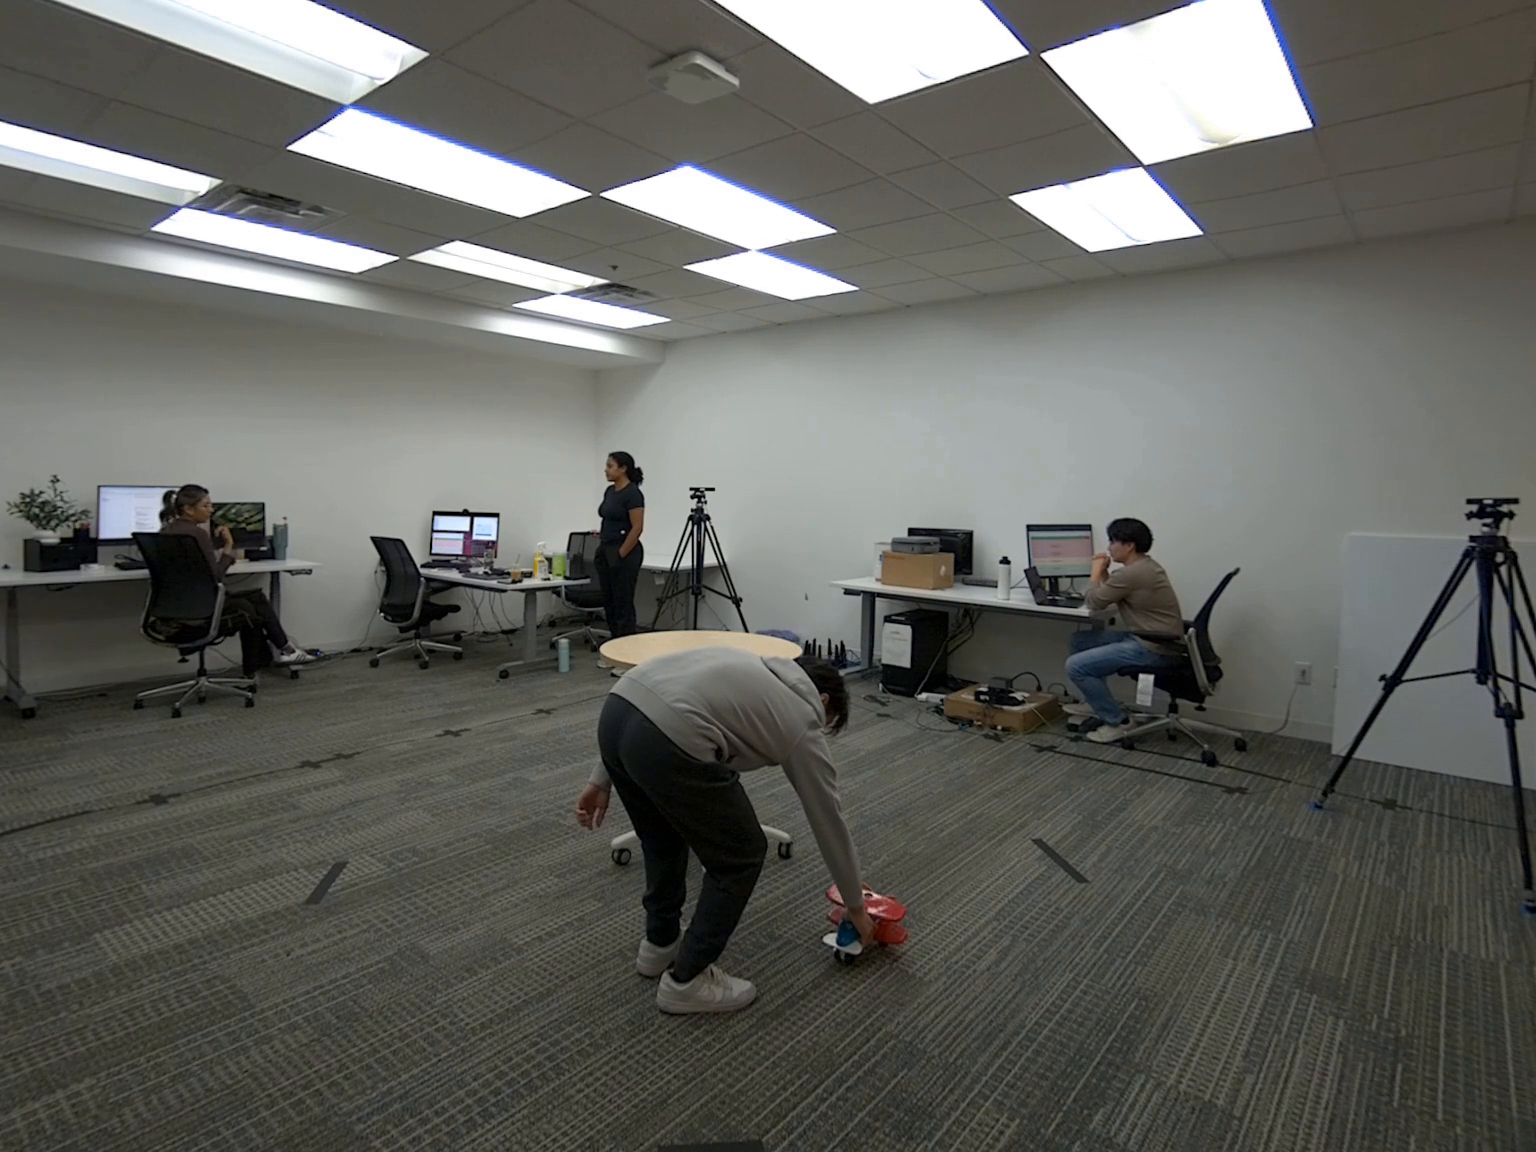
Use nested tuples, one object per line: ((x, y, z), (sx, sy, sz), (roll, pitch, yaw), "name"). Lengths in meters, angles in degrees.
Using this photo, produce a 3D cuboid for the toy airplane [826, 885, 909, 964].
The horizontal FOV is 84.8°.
((0.289, 1.052, 2.567), (0.254, 0.156, 0.257), (4, 2, 8), "toy airplane")
